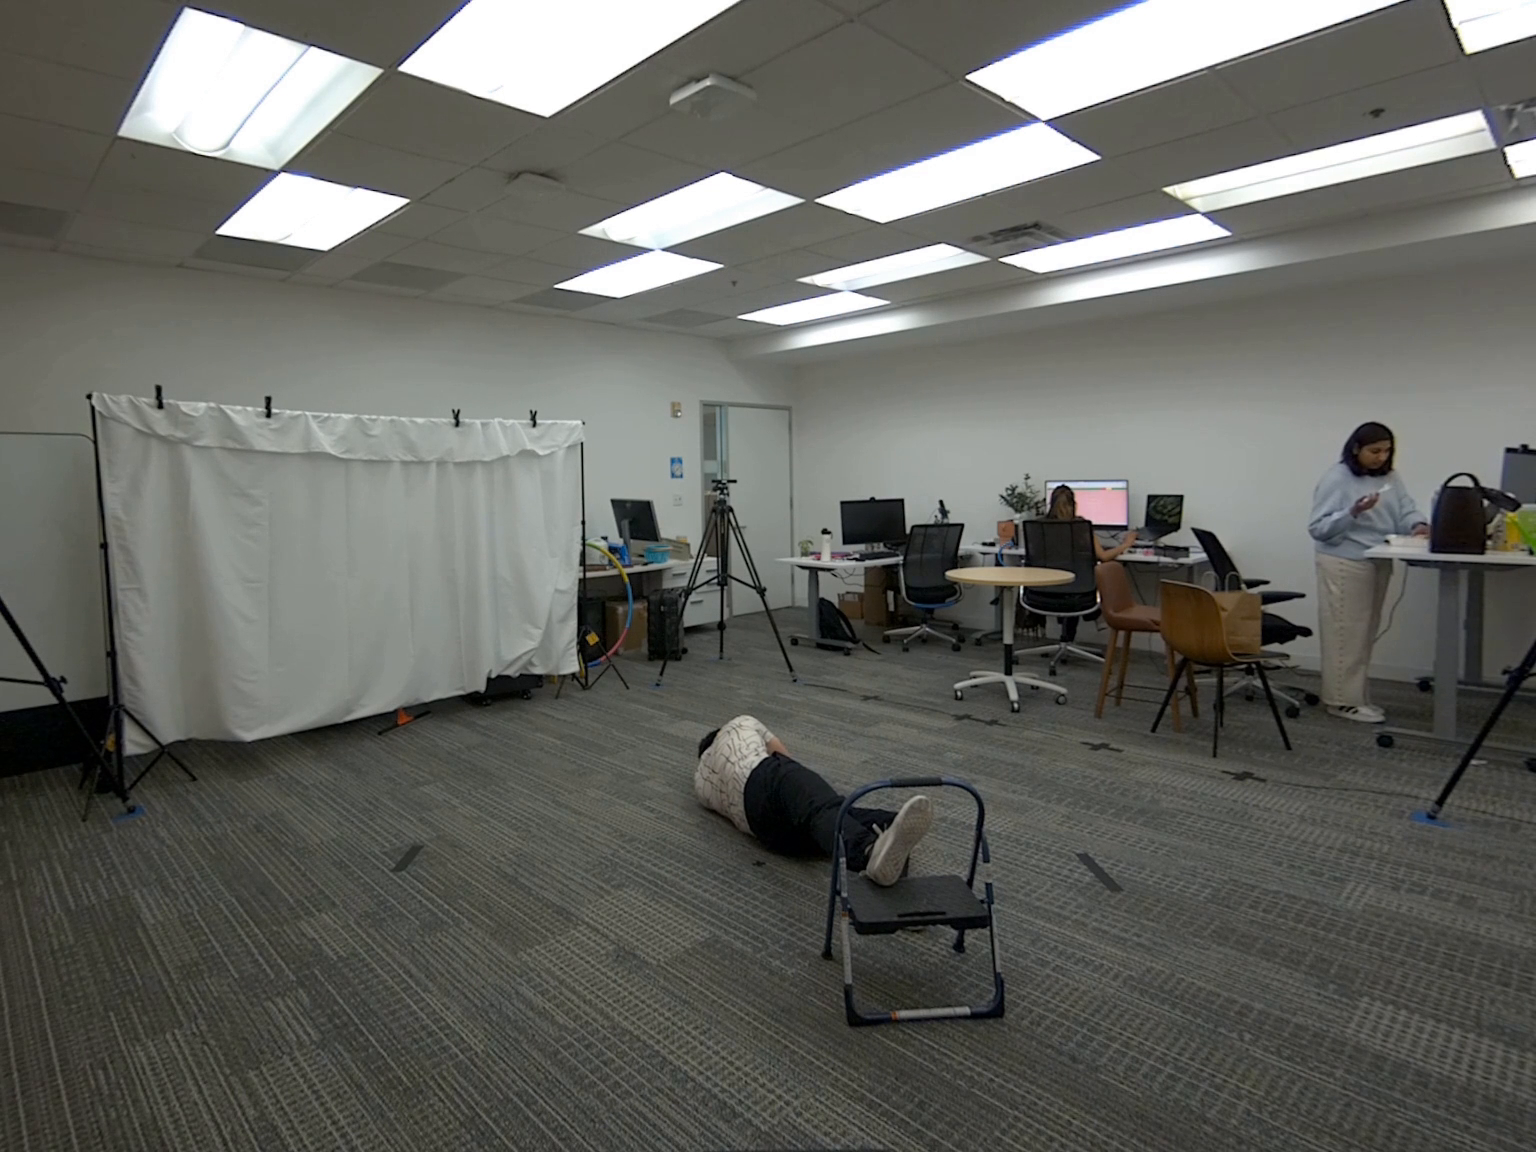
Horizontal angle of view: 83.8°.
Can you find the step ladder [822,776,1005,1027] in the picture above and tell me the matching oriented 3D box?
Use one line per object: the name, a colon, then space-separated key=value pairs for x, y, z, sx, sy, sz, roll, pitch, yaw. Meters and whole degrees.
step ladder: x=0.391 y=0.832 z=2.334 sx=0.428 sy=0.604 sz=0.353 roll=-2 pitch=4 yaw=-7
